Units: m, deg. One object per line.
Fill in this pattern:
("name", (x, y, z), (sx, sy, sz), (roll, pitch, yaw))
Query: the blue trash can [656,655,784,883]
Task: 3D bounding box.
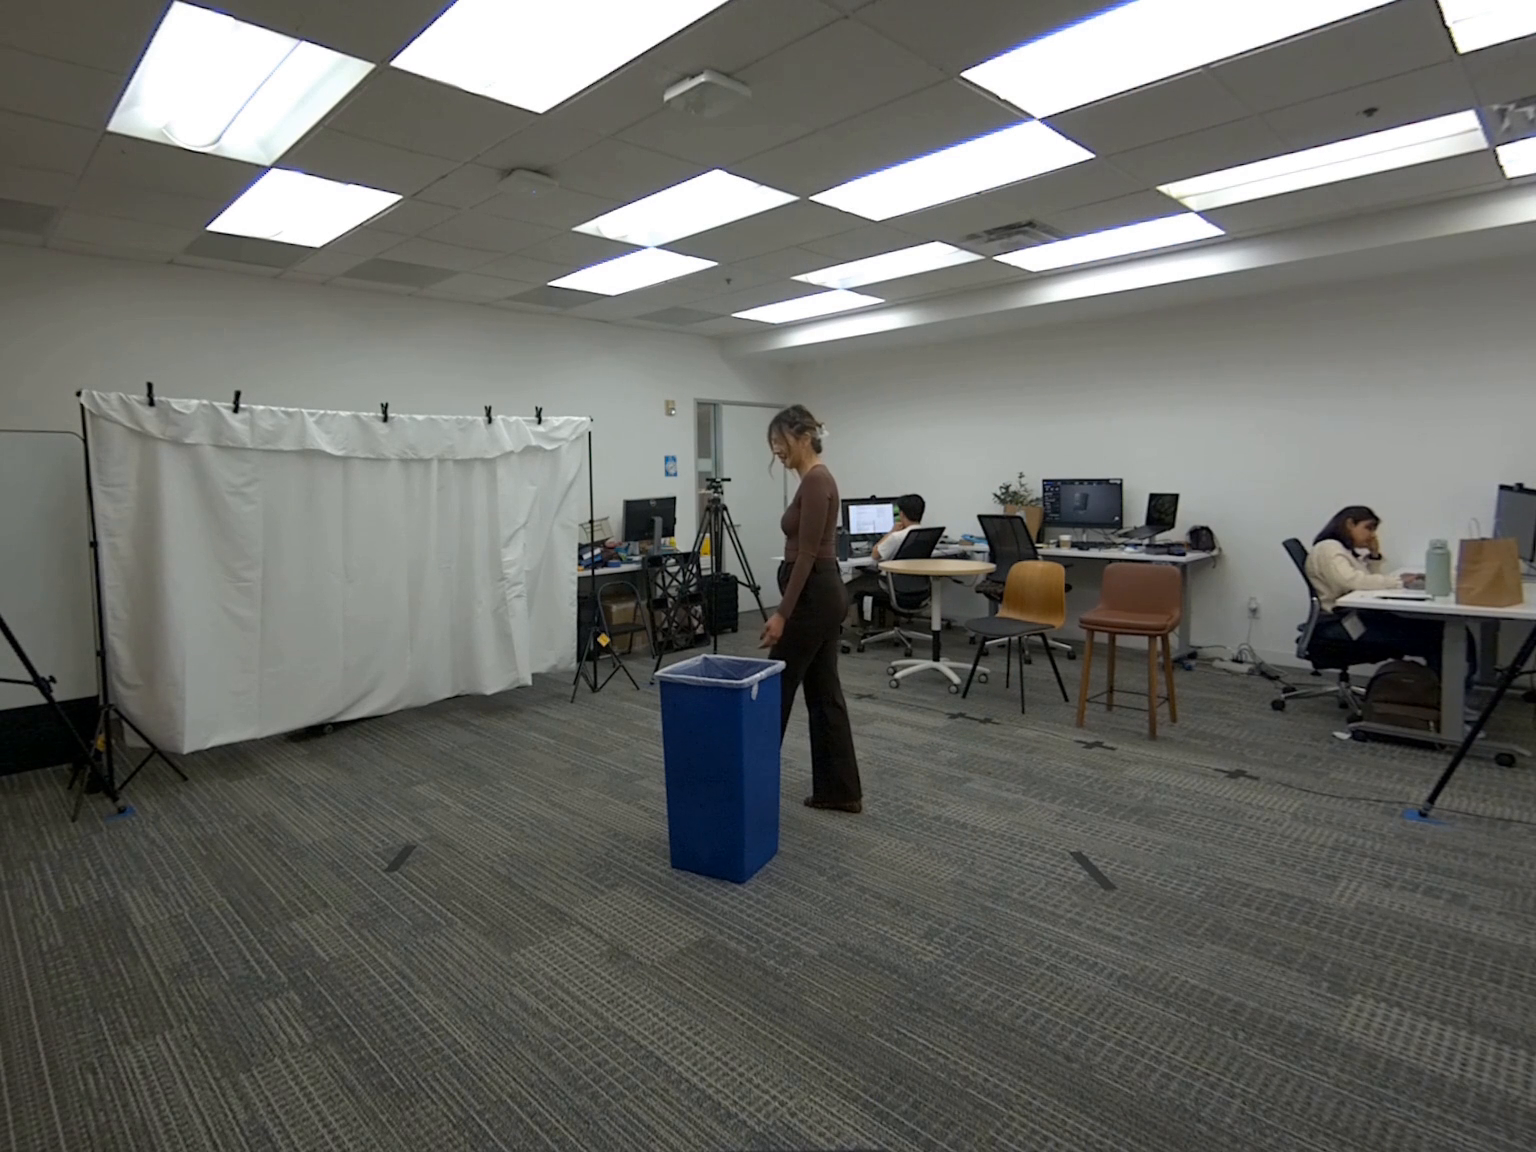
("blue trash can", (-0.169, 0.682, 3.119), (0.383, 0.711, 0.370), (2, 4, 26))
